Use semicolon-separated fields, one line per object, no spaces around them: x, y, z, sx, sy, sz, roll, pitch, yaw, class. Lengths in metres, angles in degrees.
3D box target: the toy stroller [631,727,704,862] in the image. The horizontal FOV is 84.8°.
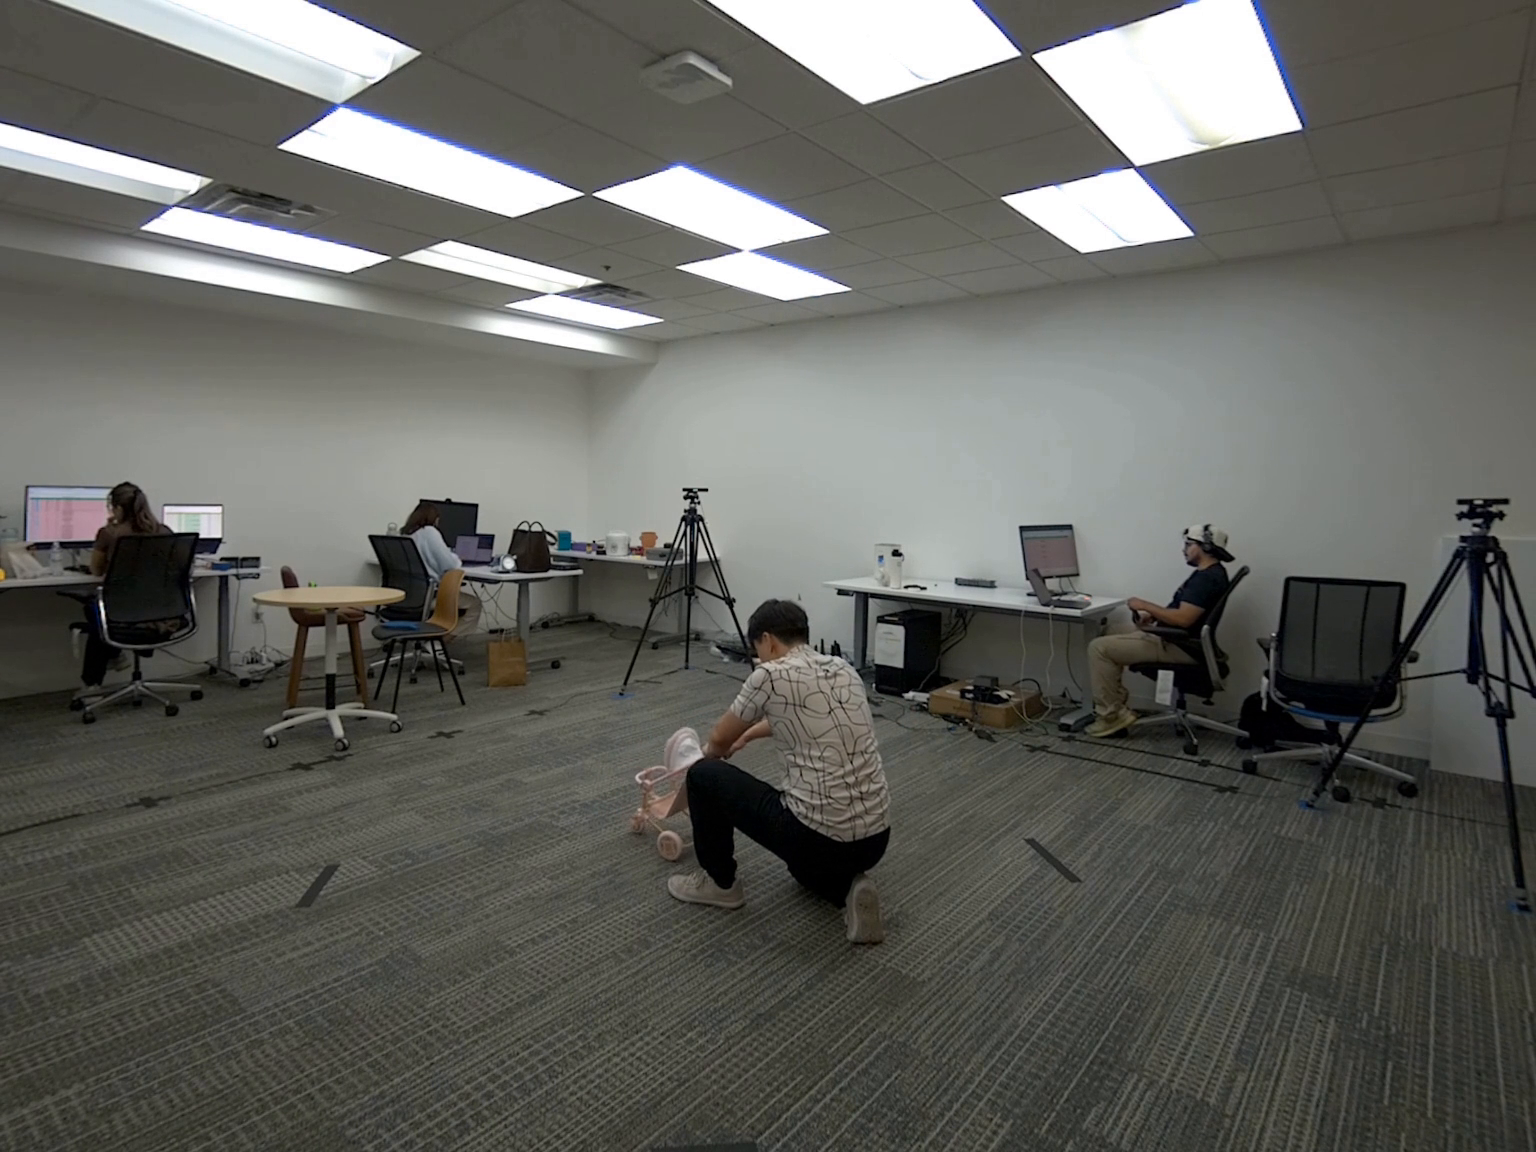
-0.365;0.821;3.310;0.354;0.531;0.273;23;14;33;toy stroller
